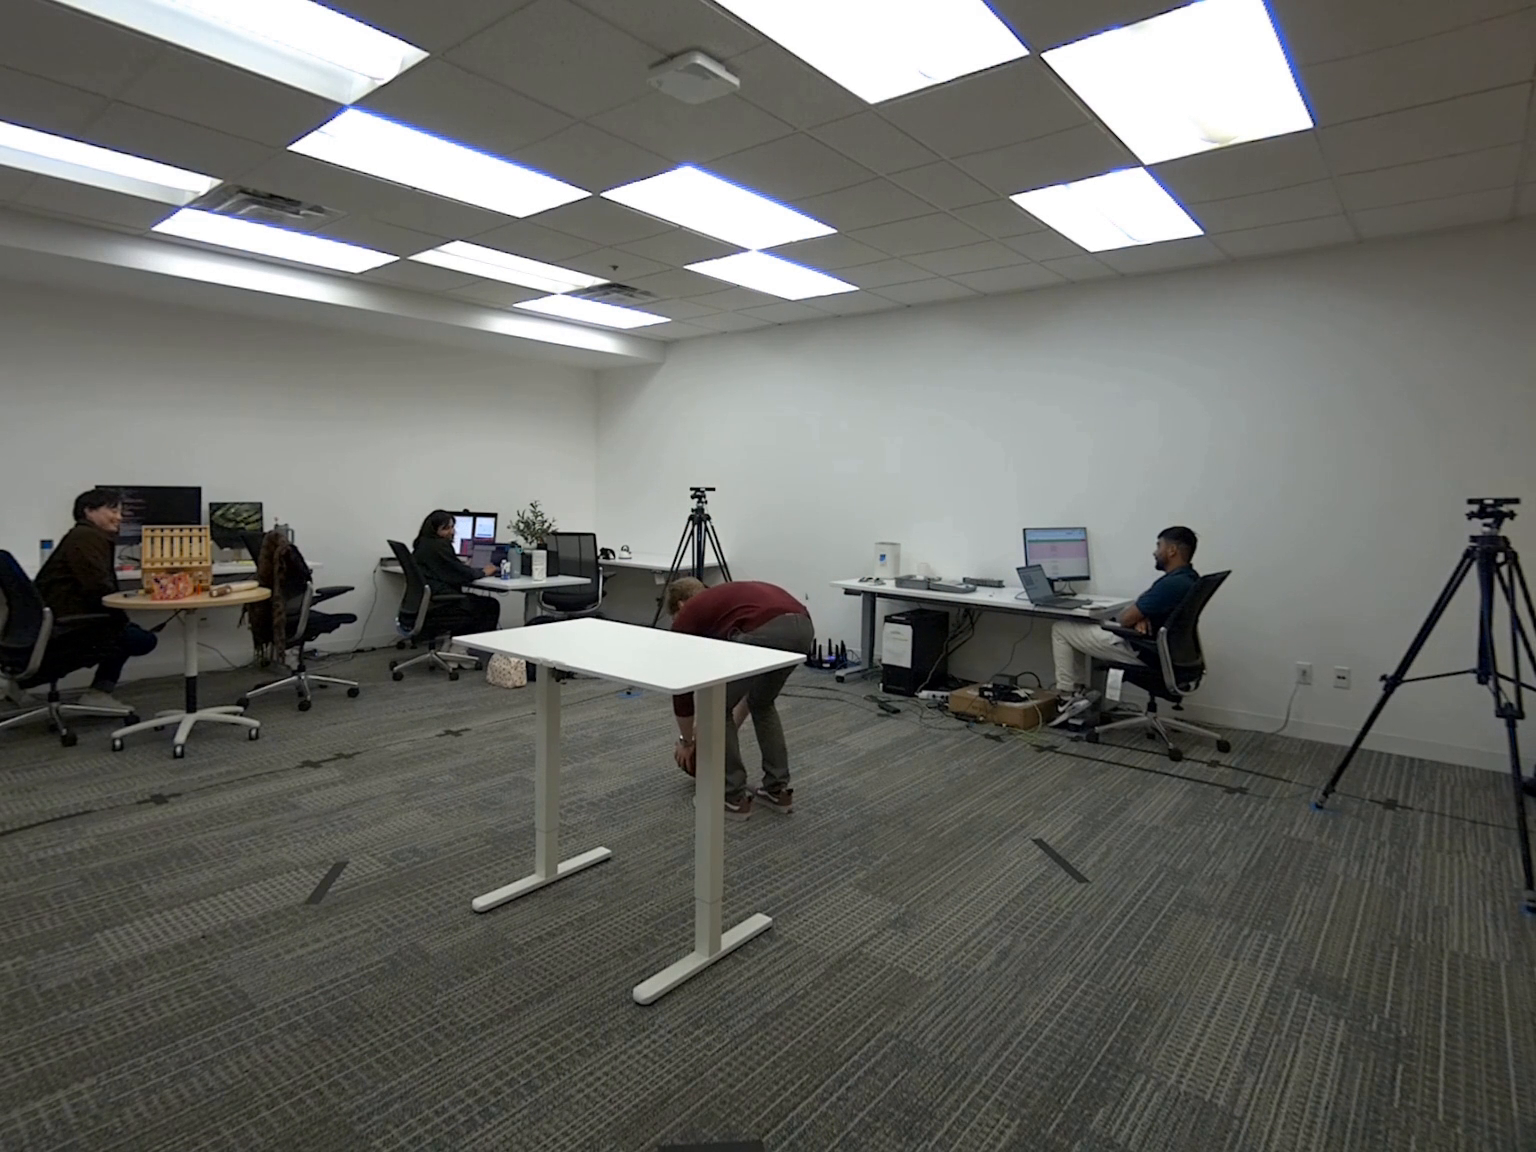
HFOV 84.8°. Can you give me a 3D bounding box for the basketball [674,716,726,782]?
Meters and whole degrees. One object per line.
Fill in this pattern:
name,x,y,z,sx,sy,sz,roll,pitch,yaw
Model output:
basketball,-0.319,0.816,3.989,0.235,0.235,0.237,1,4,-2
